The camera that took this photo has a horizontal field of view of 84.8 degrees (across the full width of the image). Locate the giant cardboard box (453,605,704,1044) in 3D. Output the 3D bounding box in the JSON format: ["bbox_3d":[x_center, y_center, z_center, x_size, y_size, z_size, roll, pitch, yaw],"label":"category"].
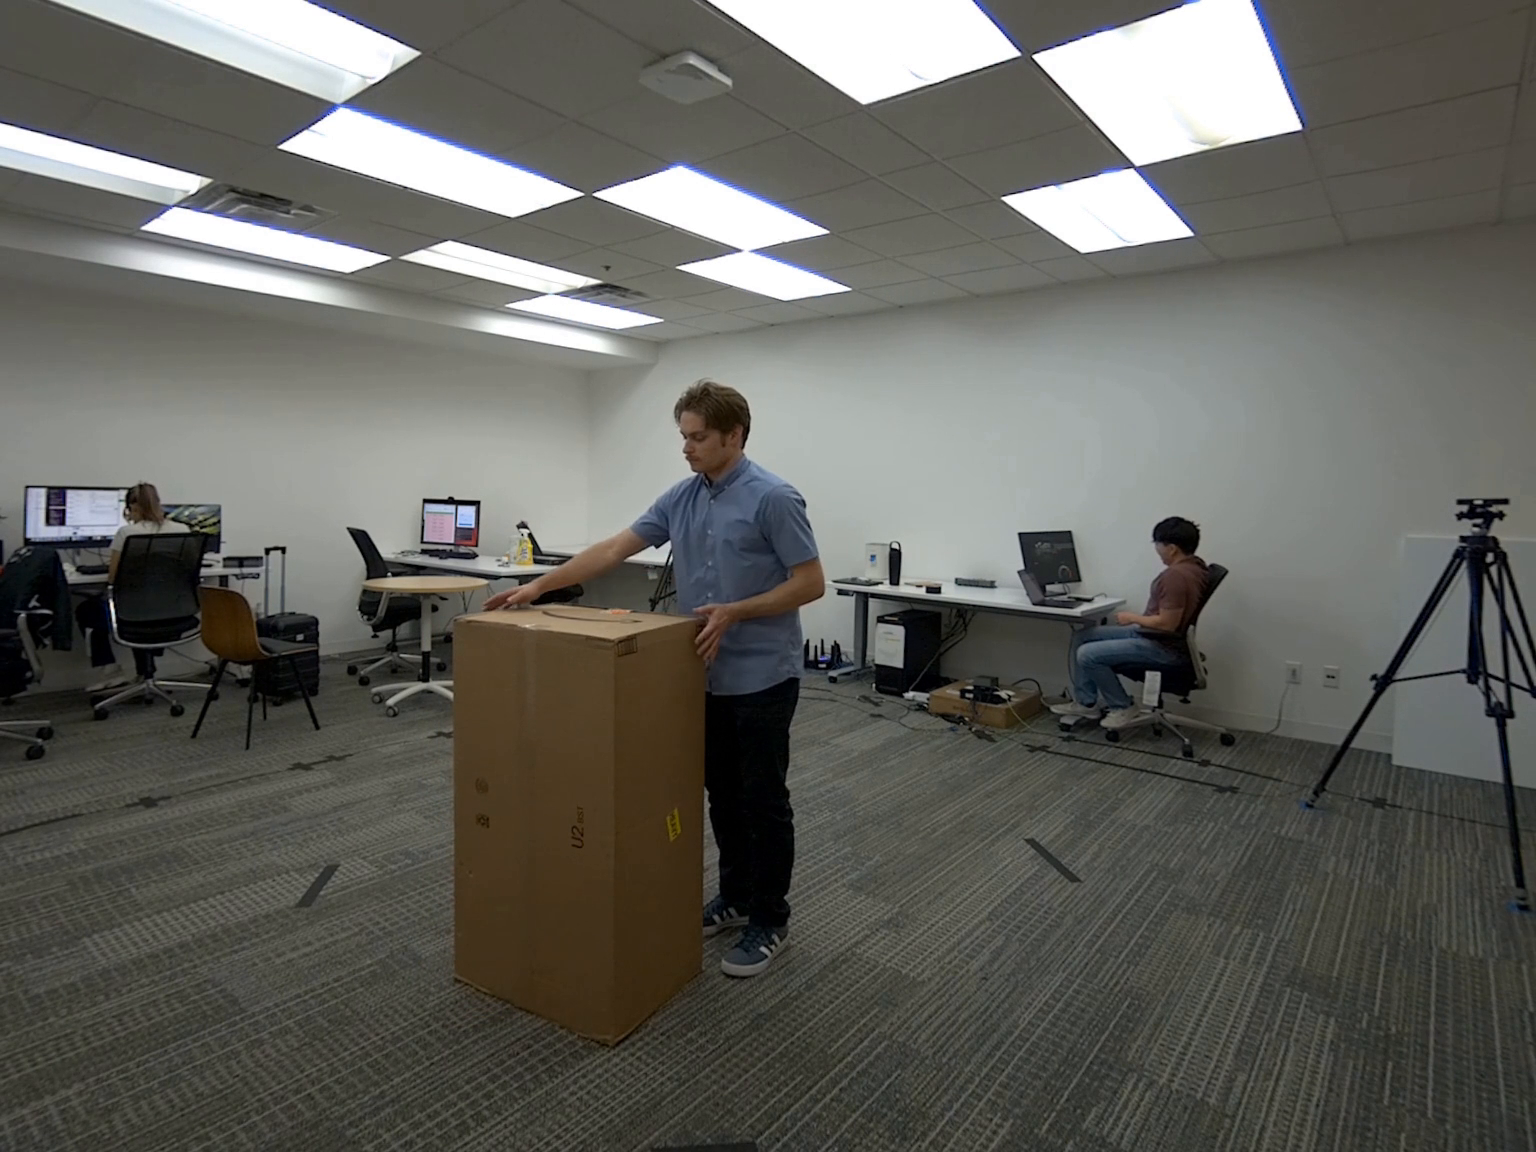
[{"bbox_3d":[-0.543,0.626,2.402,0.594,1.023,0.415,2,3,31],"label":"giant cardboard box"}]
